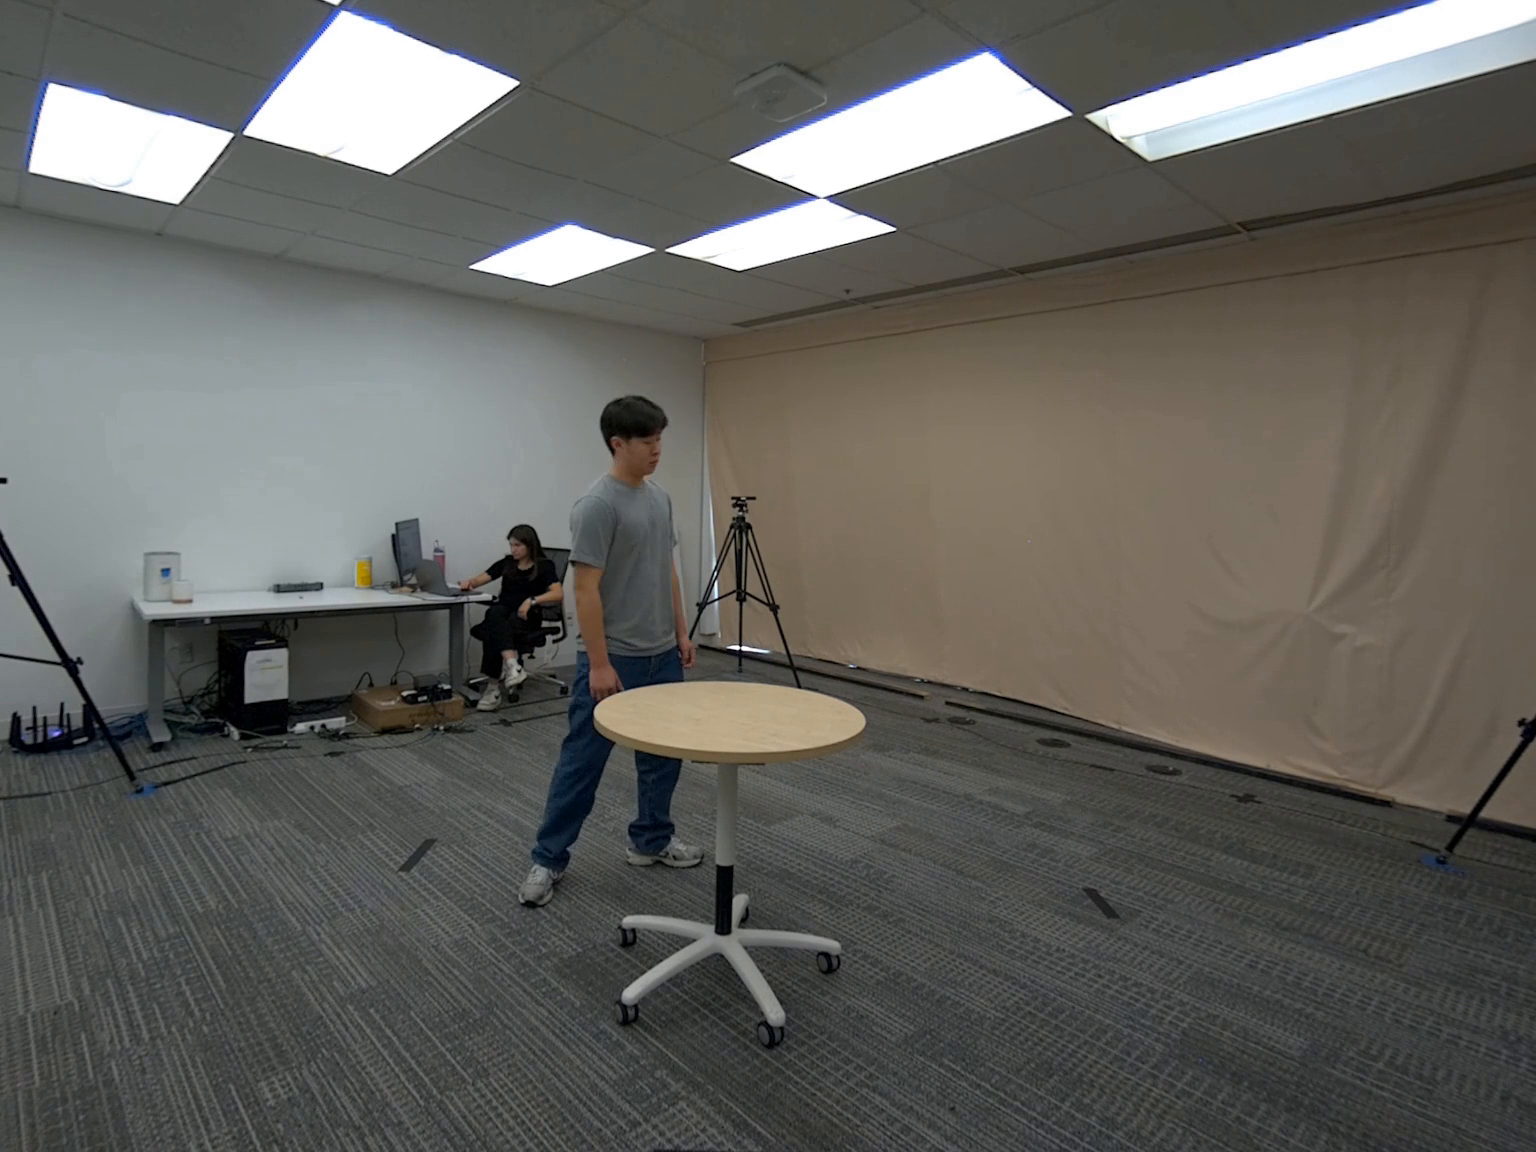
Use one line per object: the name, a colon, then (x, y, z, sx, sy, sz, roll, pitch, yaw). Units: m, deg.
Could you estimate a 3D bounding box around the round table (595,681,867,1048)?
round table: (-0.123, 0.782, 2.413, 0.763, 0.792, 0.767, 2, 4, -2)
